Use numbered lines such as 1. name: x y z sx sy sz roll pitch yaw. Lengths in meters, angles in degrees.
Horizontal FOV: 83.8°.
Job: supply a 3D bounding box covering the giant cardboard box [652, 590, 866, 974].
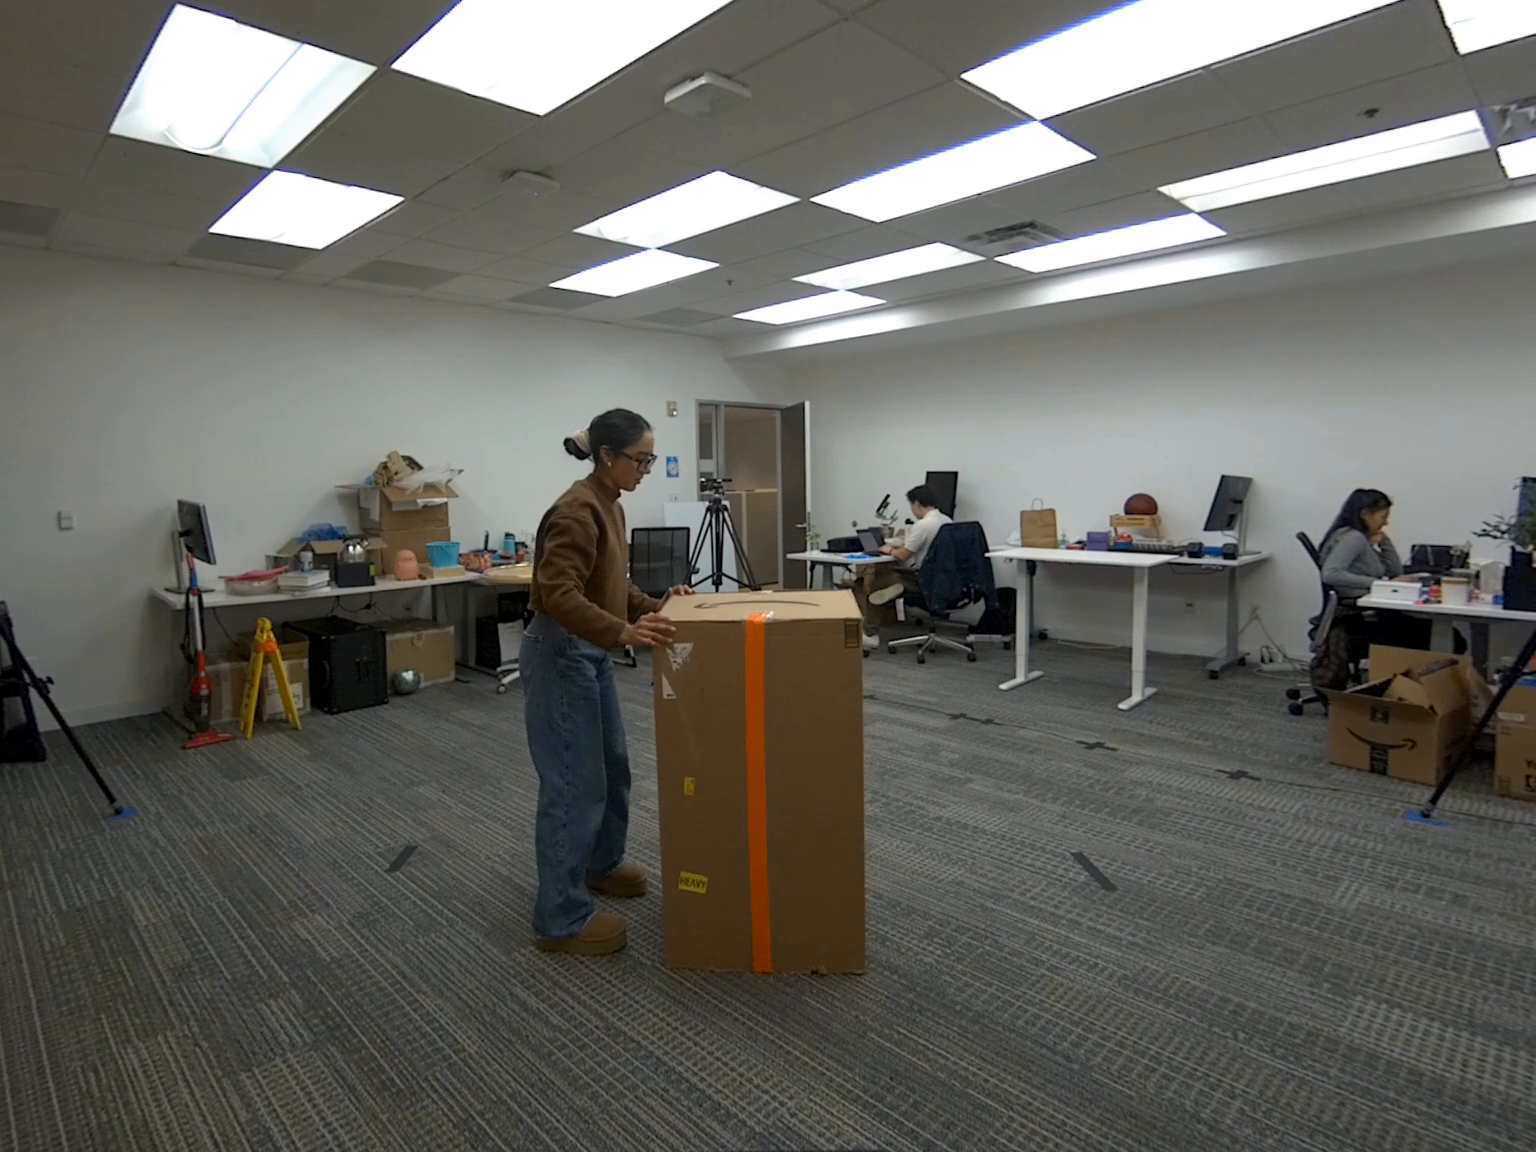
1. giant cardboard box: -0.015 0.593 2.568 0.586 1.021 0.448 -1 6 4
